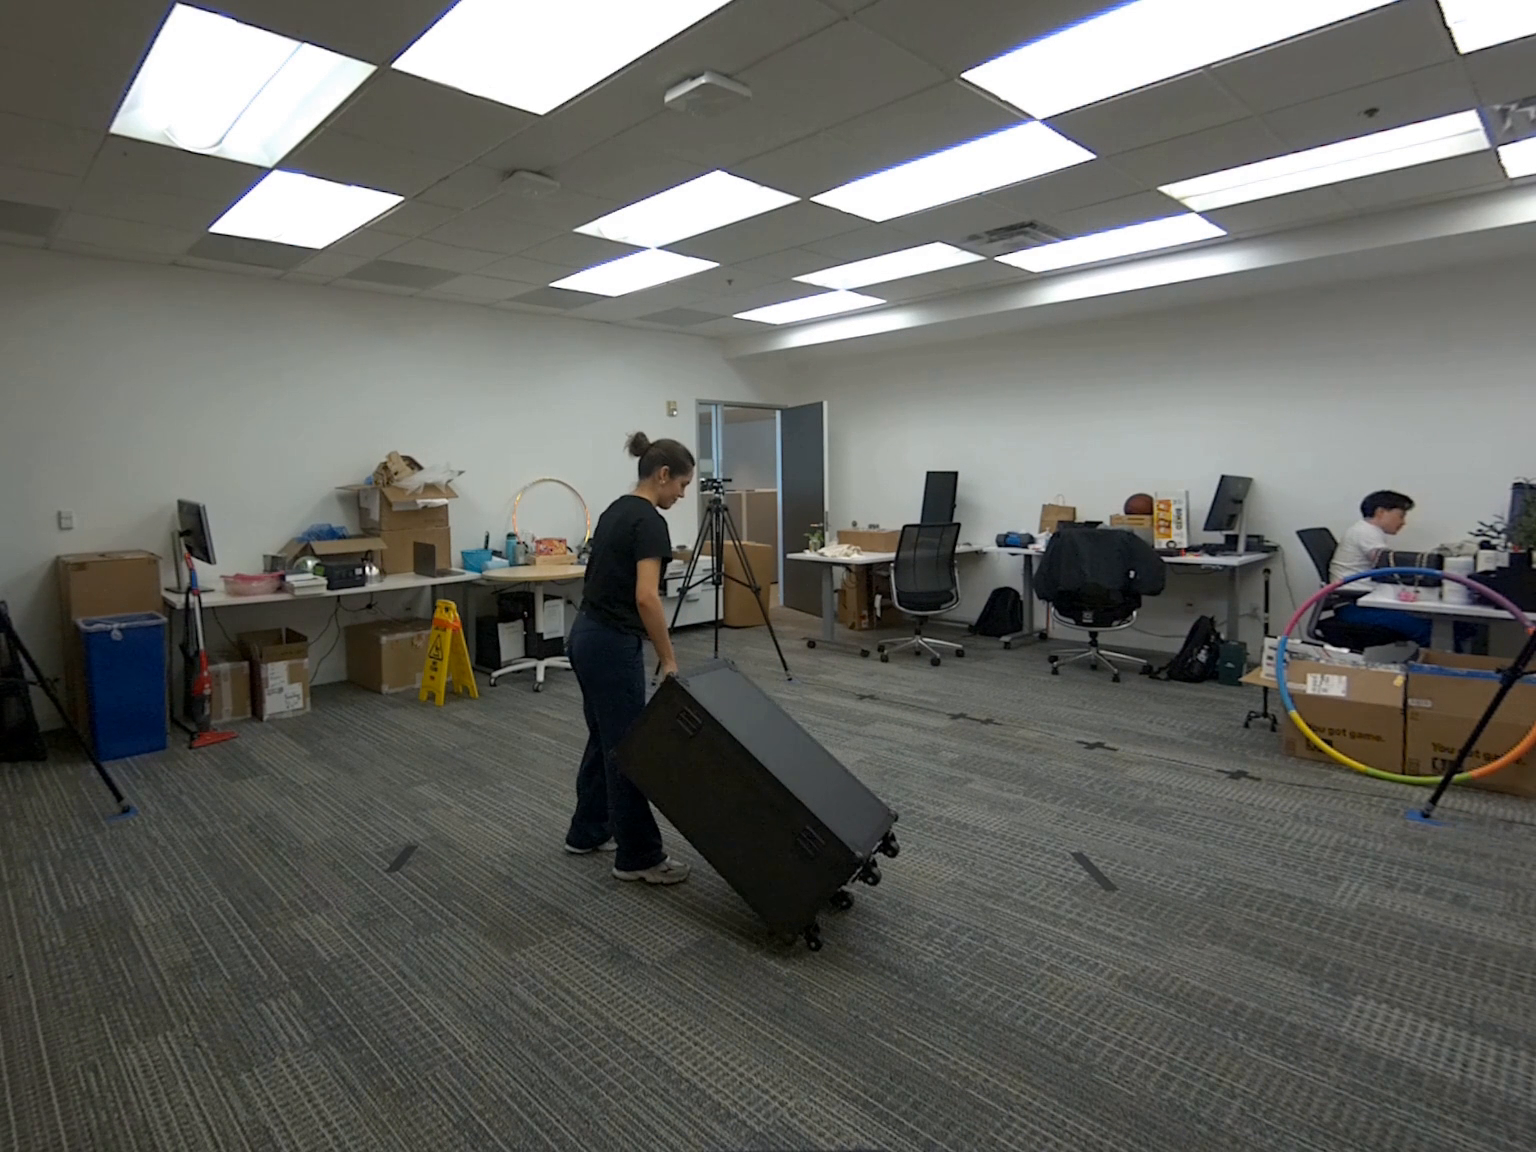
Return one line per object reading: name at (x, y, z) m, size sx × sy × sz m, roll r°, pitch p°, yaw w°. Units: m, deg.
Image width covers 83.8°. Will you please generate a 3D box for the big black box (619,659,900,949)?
big black box at (-0.025, 0.711, 2.764) m, size 0.883 × 0.395 × 0.509 m, roll 40°, pitch 13°, yaw 19°
